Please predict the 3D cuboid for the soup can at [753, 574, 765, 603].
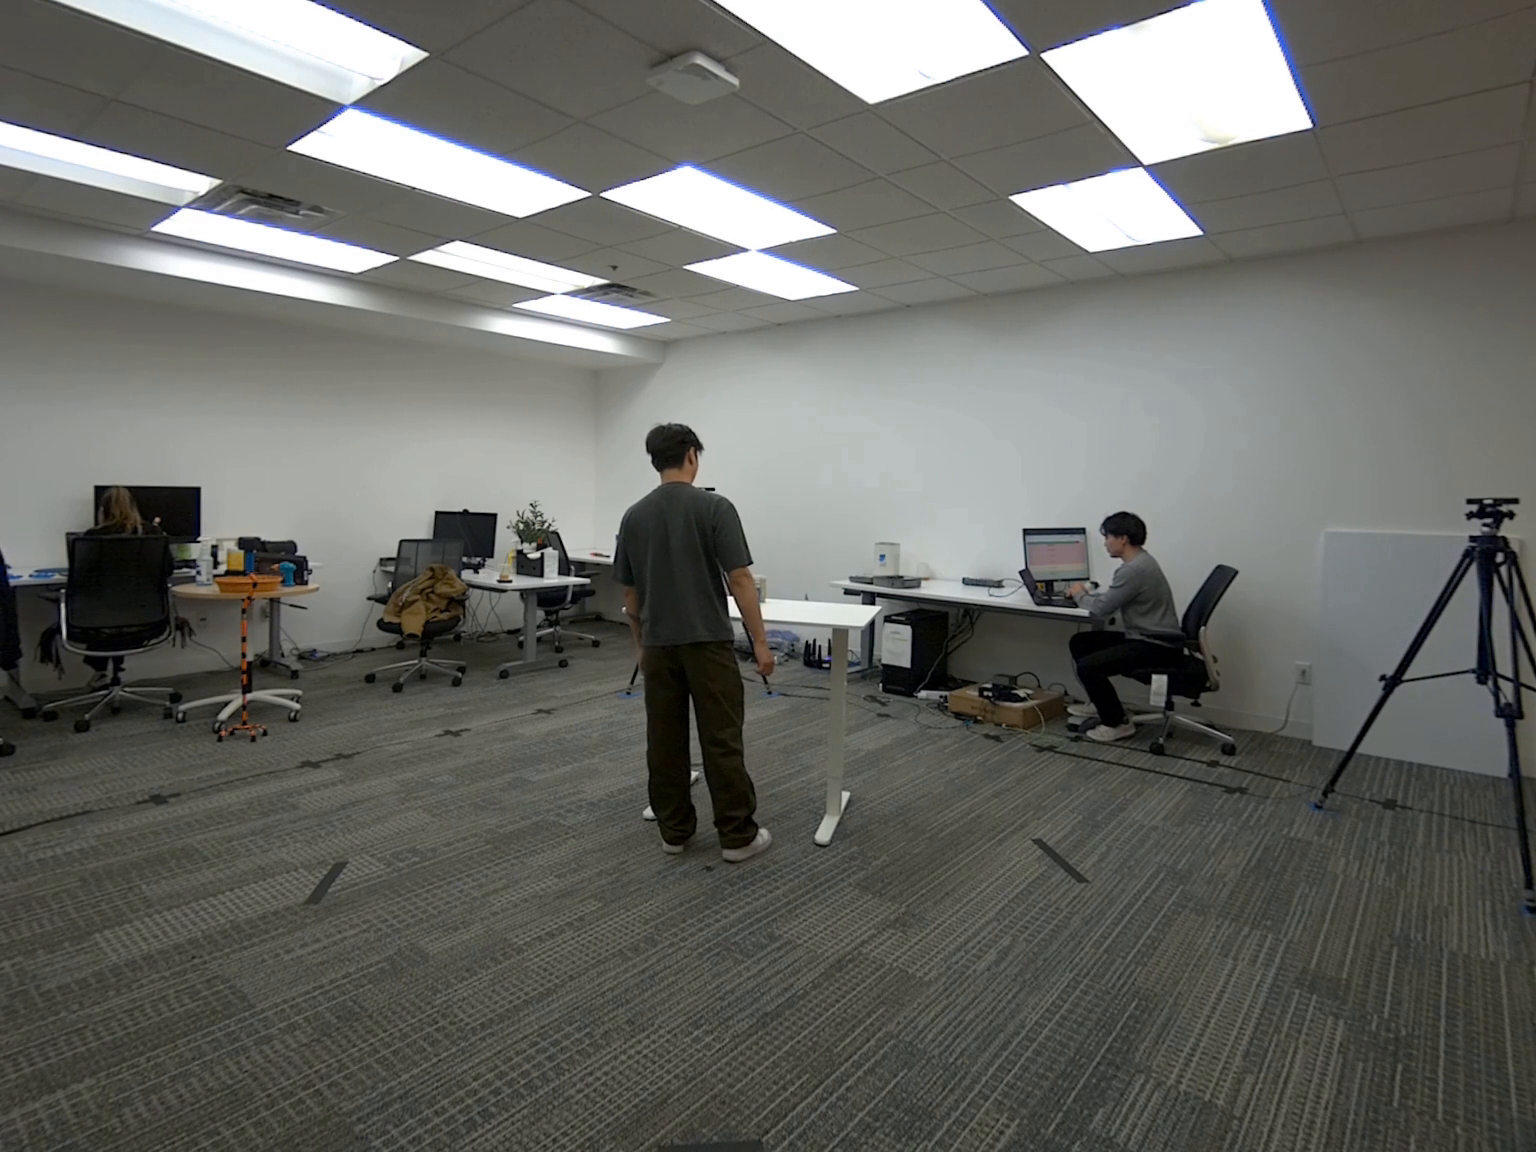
[{"bbox_3d":[-0.054,0.055,3.852,0.067,0.121,0.067,1,0,-2],"label":"soup can"}]
